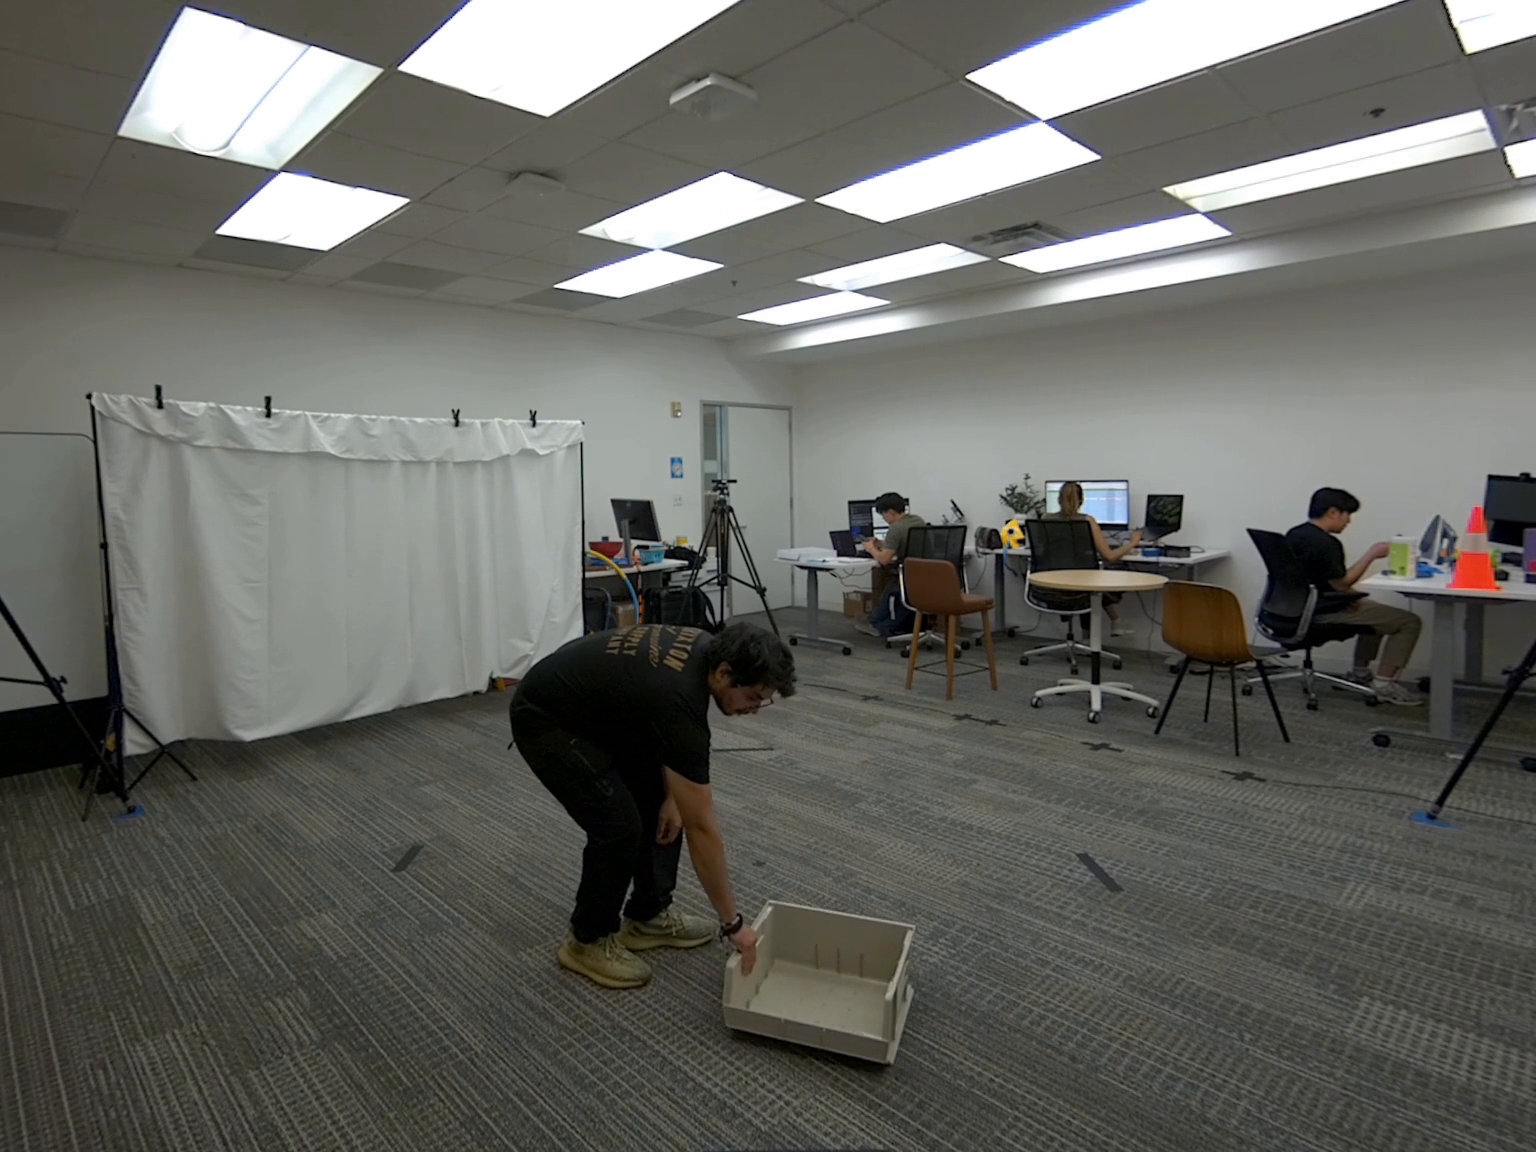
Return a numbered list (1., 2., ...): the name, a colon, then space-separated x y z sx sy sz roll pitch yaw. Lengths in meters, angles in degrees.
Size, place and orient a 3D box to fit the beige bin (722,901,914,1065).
1. beige bin: 0.149 1.051 2.230 0.431 0.188 0.371 0 6 20
